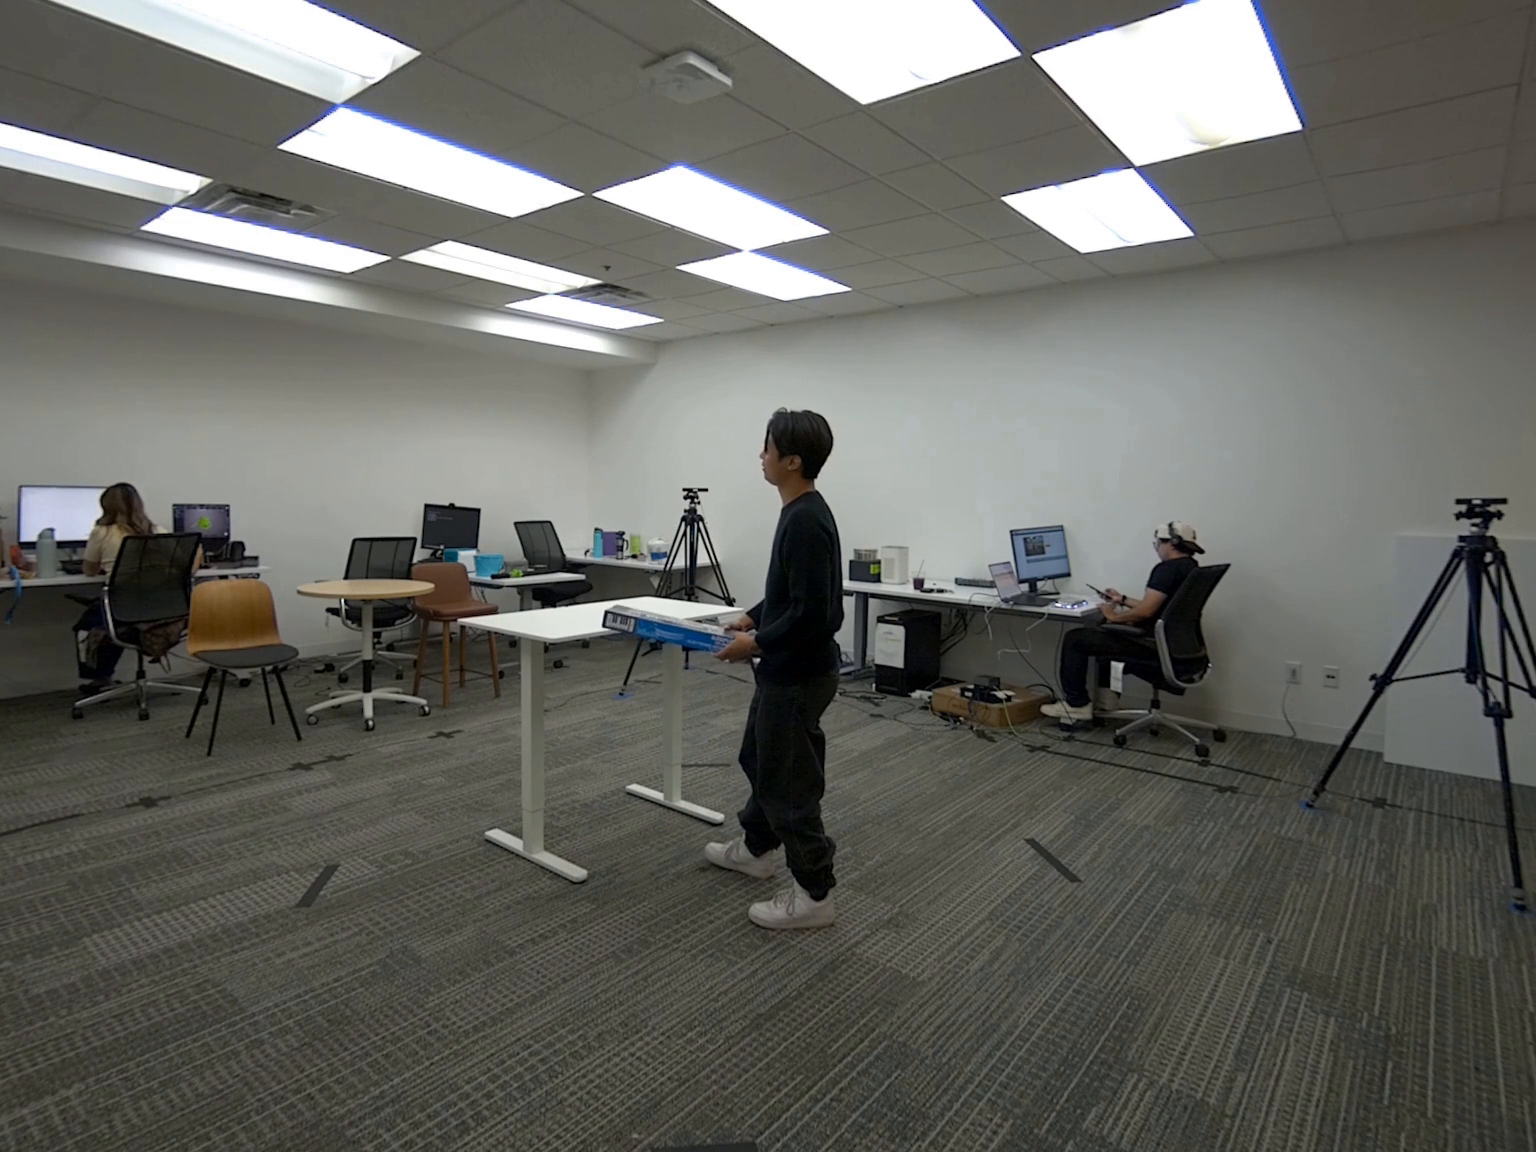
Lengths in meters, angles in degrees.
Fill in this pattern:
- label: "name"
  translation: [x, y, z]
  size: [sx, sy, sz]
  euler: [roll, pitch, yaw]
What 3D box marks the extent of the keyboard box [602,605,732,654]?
- label: "keyboard box"
  translation: [-0.322, 0.175, 2.797]
  size: [0.440, 0.059, 0.175]
  euler: [12, 4, 6]
